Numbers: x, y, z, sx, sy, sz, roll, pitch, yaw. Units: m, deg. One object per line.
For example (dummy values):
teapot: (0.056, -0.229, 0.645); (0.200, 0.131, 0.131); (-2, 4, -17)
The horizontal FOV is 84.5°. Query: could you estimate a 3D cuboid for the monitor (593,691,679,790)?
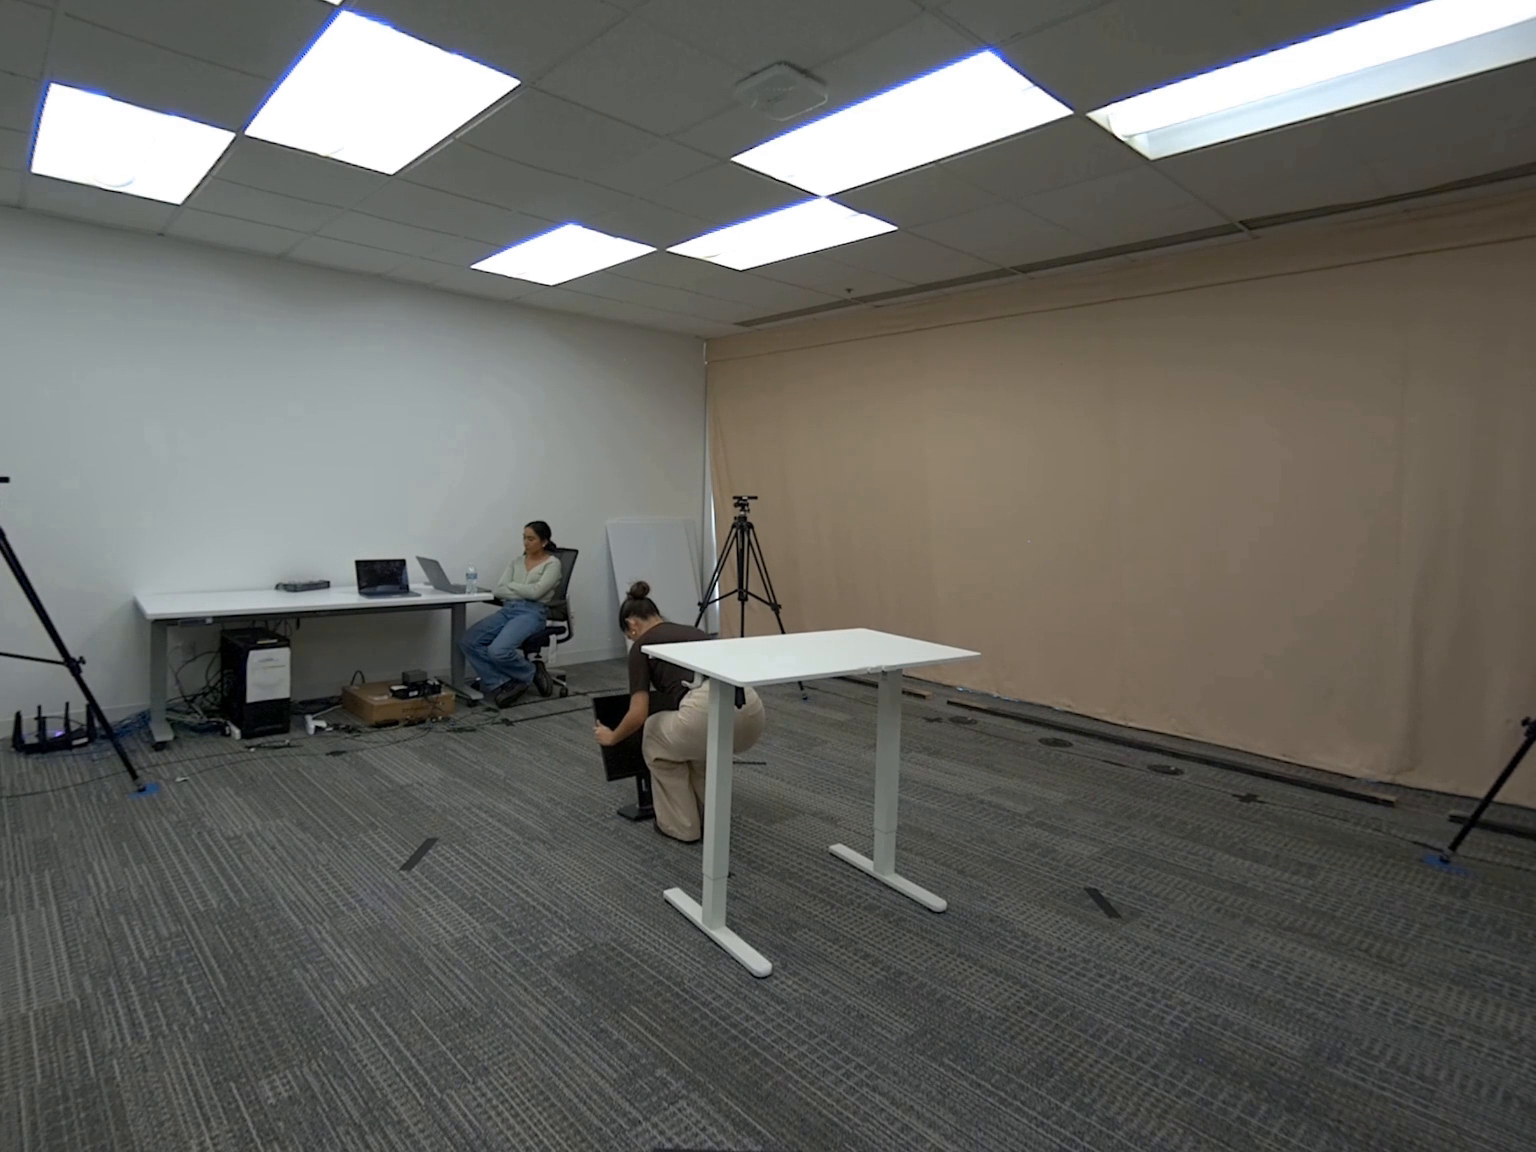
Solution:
monitor: (-0.545, 0.785, 3.741); (0.526, 0.524, 0.191); (0, -5, -43)
